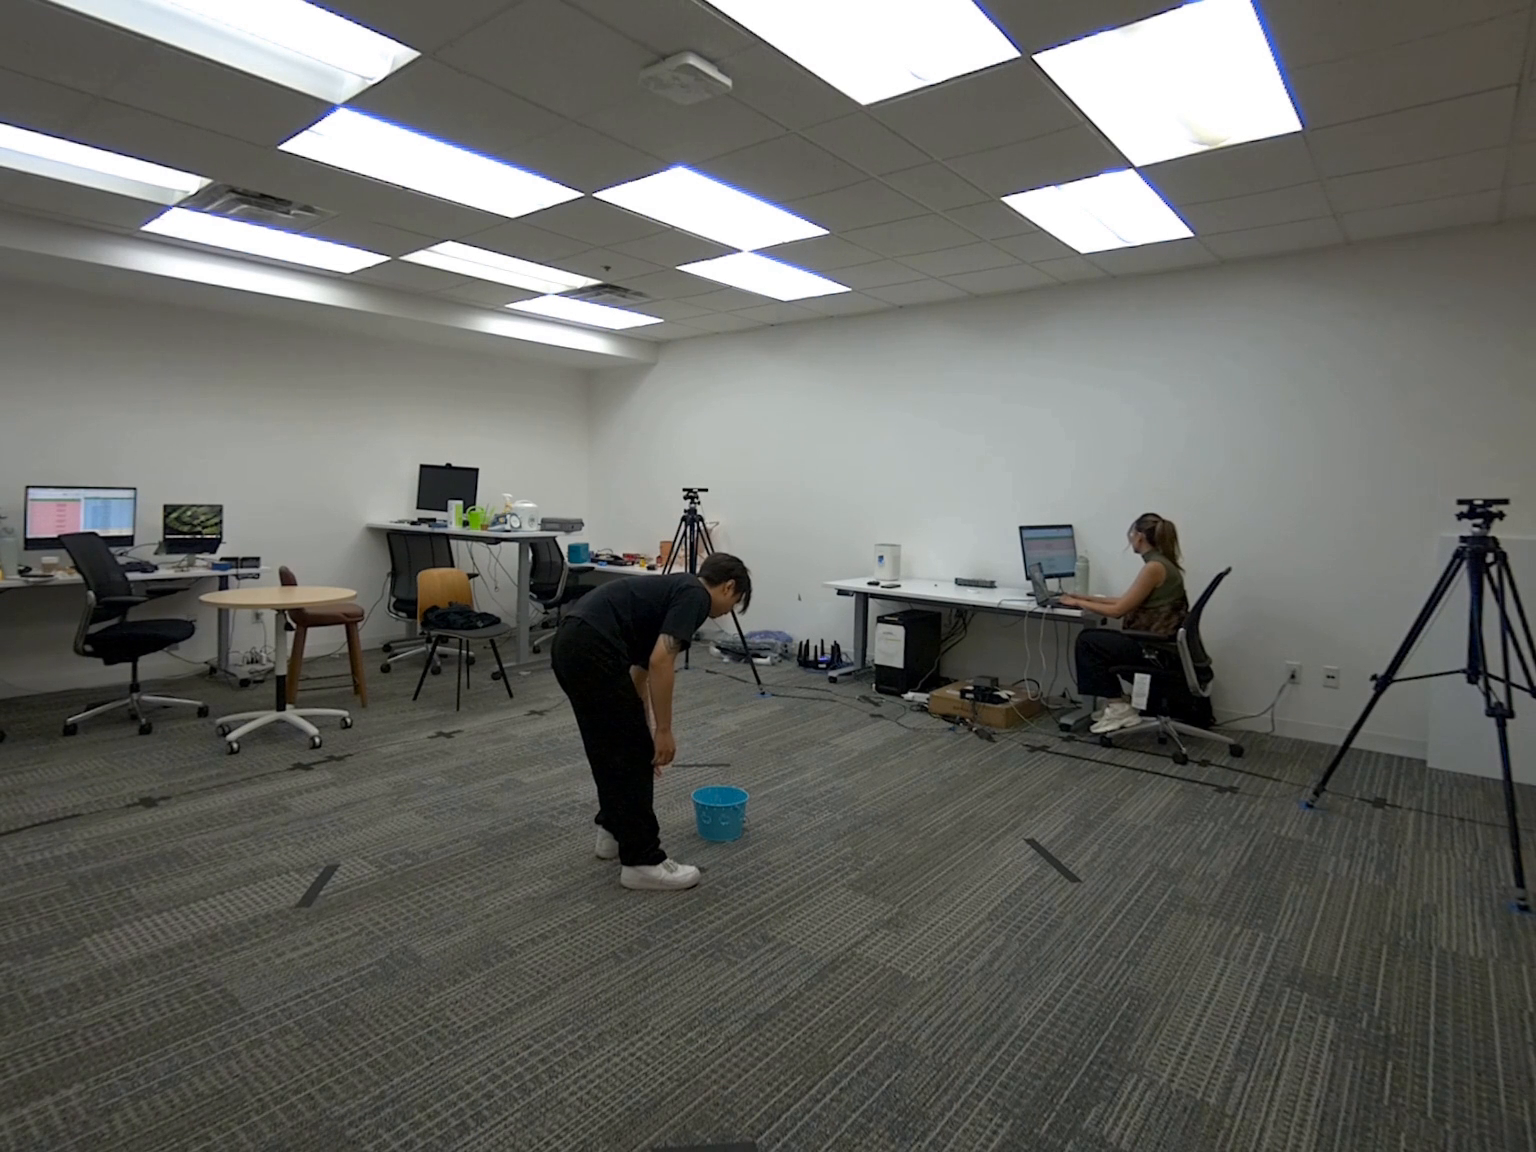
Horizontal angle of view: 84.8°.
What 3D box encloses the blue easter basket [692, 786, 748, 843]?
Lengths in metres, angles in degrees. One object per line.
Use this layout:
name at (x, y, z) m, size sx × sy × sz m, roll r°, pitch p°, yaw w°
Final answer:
blue easter basket at (-0.197, 0.960, 3.450) m, size 0.243 × 0.155 × 0.245 m, roll 1°, pitch 5°, yaw -2°
